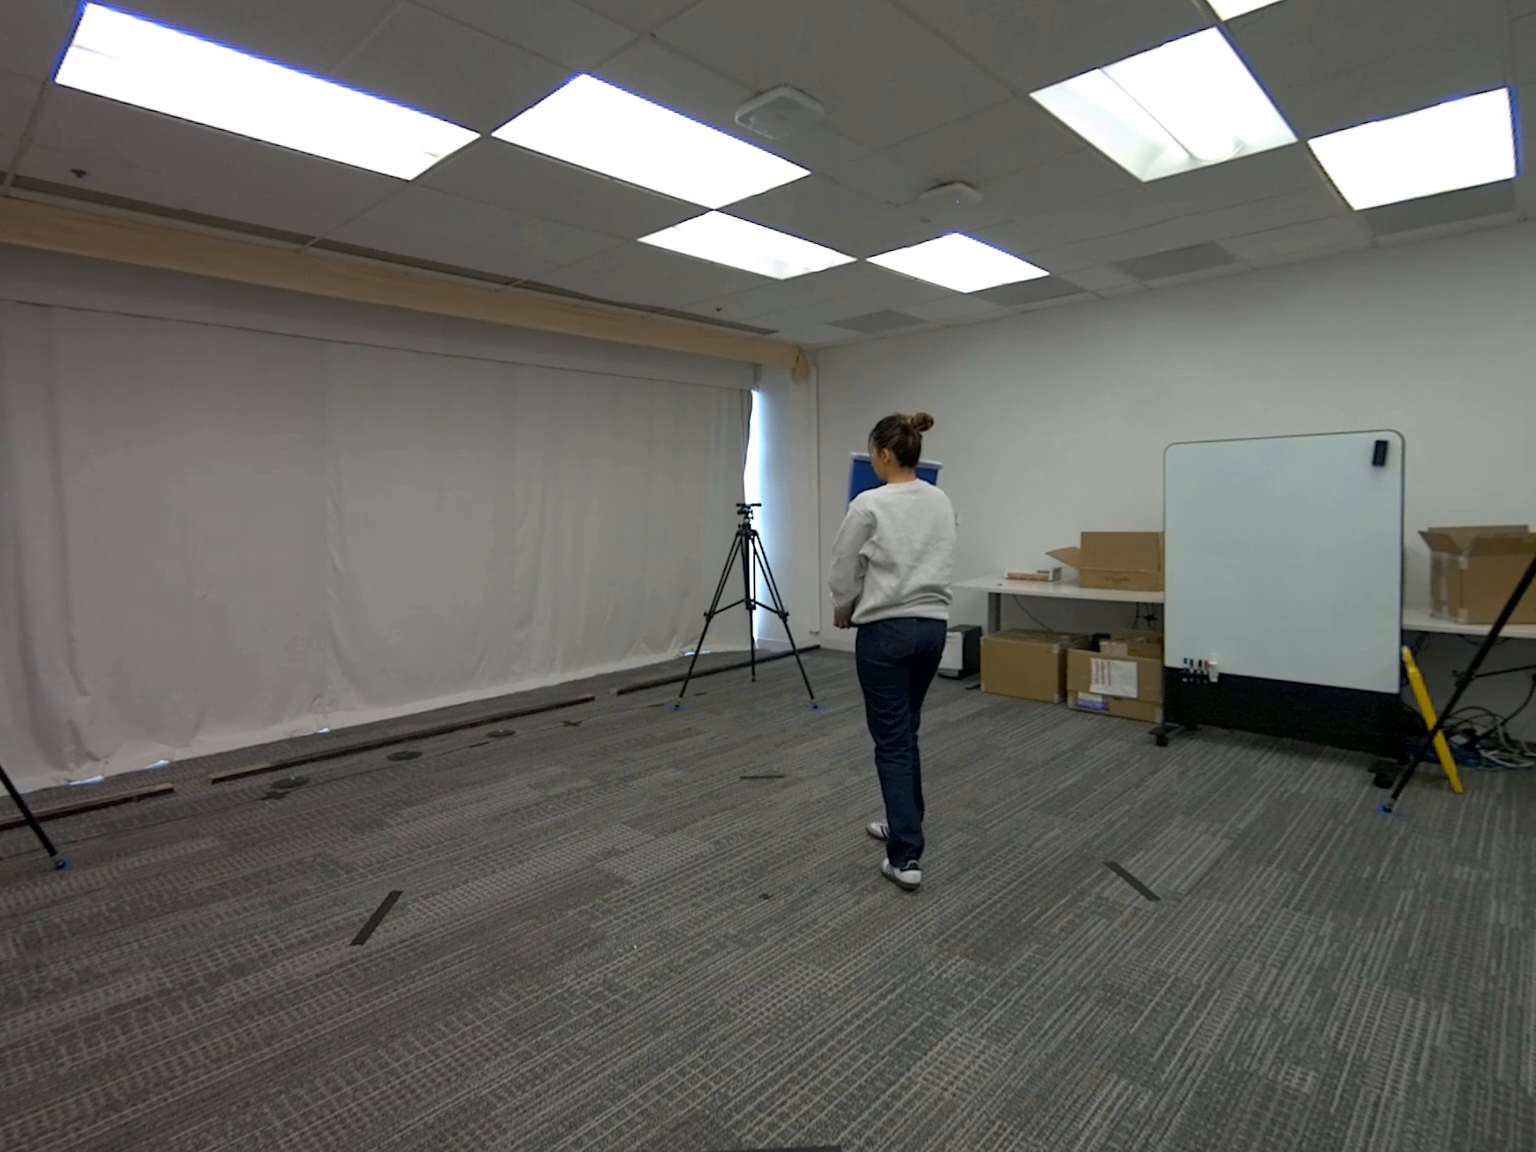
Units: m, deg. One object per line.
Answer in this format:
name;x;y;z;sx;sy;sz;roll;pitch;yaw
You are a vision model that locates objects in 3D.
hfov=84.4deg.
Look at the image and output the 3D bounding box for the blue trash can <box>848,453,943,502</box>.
blue trash can;0.495;-0.149;3.565;0.381;0.711;0.372;8;7;6
